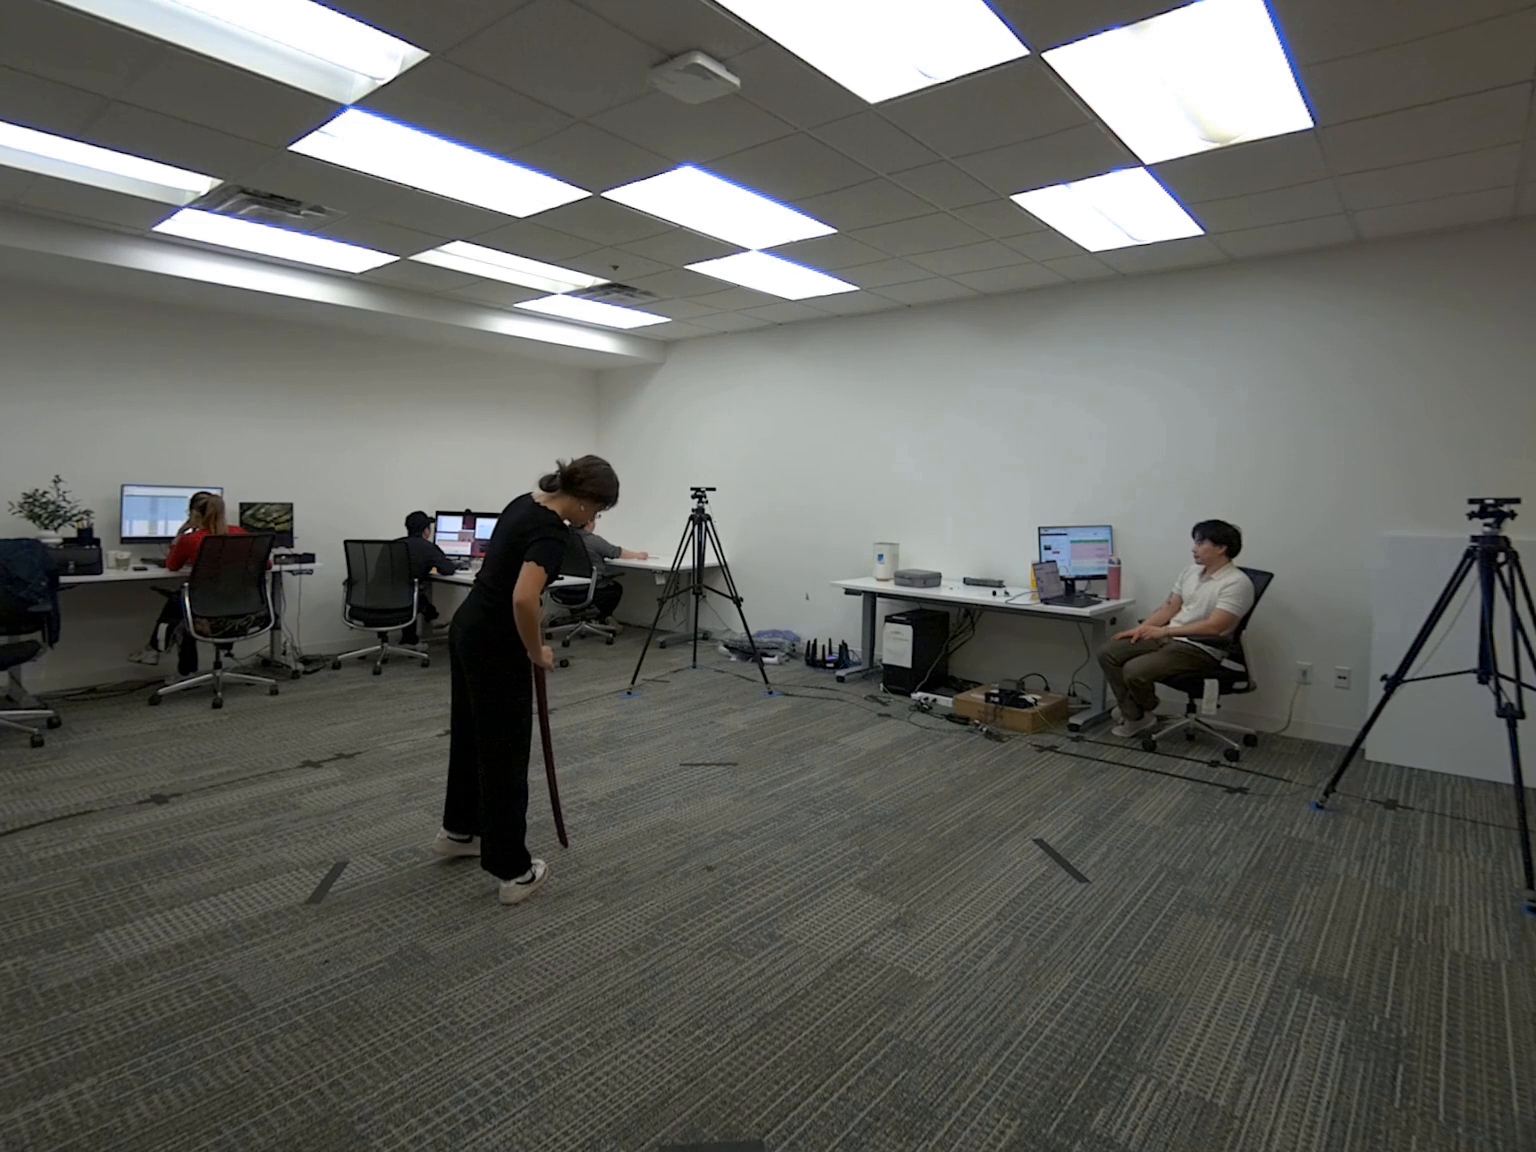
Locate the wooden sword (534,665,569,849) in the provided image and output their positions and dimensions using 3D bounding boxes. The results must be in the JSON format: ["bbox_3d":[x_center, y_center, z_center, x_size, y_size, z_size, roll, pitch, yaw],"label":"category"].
[{"bbox_3d":[-0.796,0.632,3.032,0.052,0.999,0.024,10,33,12],"label":"wooden sword"}]
